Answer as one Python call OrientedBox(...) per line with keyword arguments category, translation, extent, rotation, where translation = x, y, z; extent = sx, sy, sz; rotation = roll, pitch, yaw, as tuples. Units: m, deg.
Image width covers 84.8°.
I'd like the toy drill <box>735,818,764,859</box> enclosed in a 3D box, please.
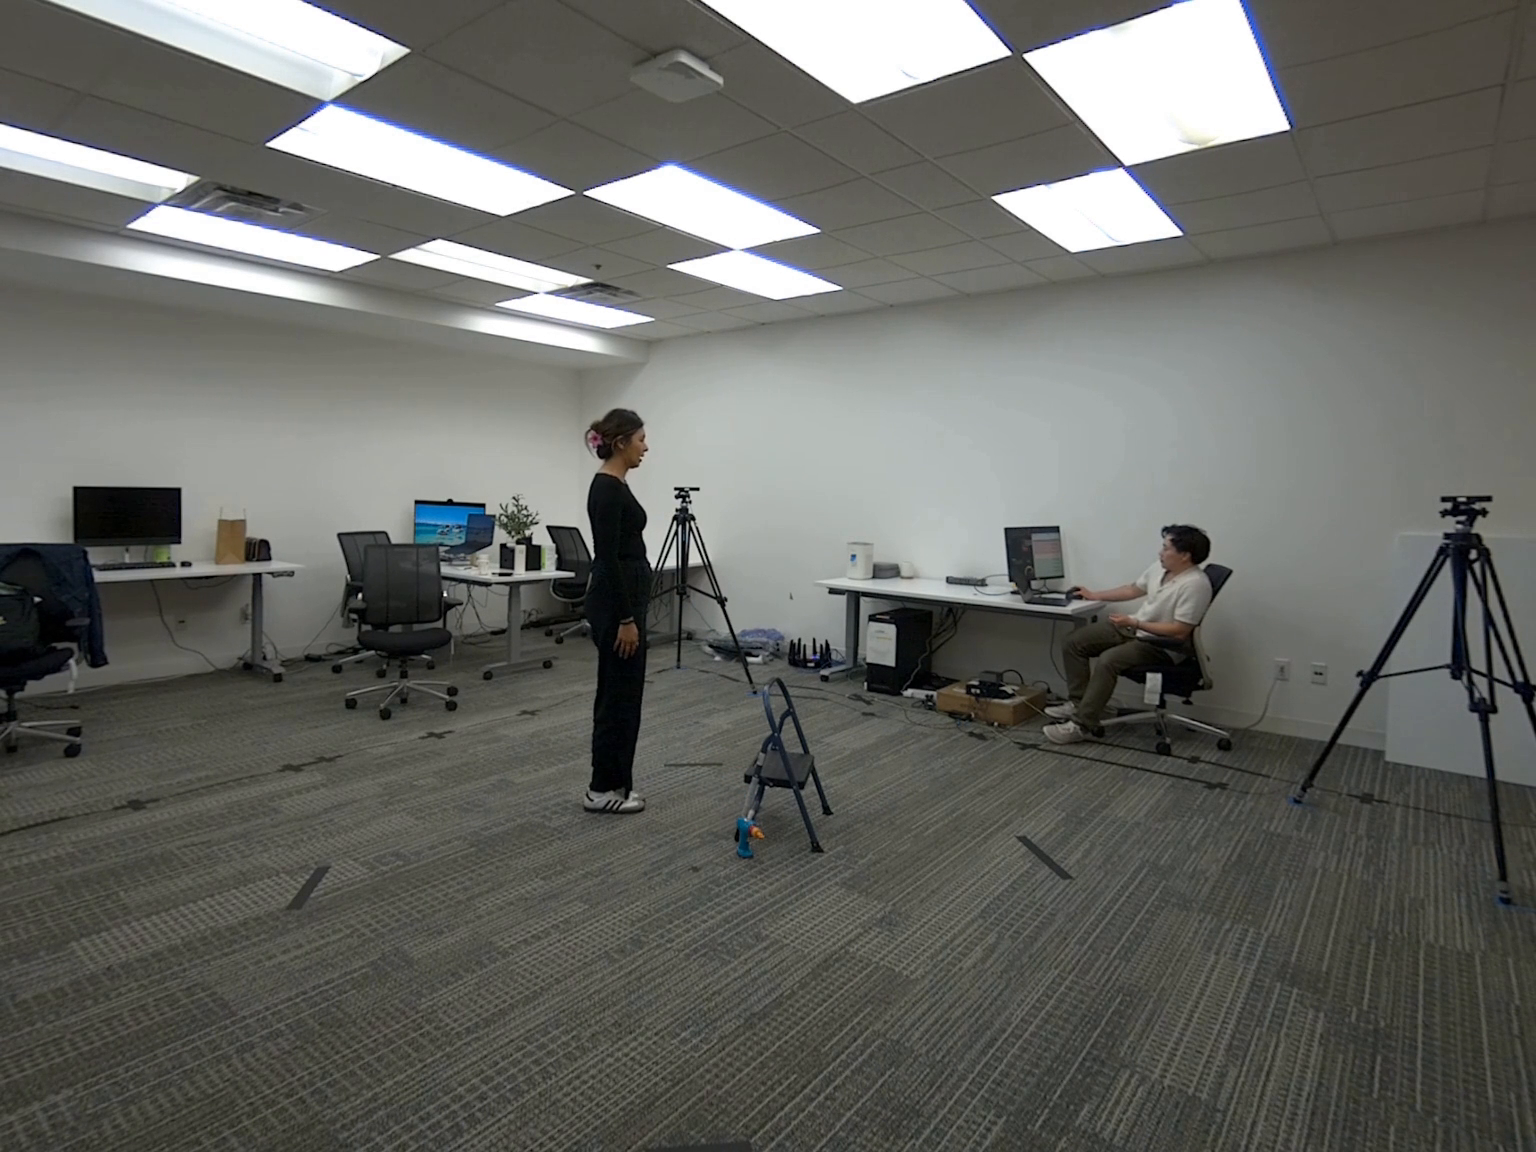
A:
OrientedBox(category="toy drill", translation=(-0.078, 0.991, 3.198), extent=(0.059, 0.145, 0.175), rotation=(-1, 6, -32))
